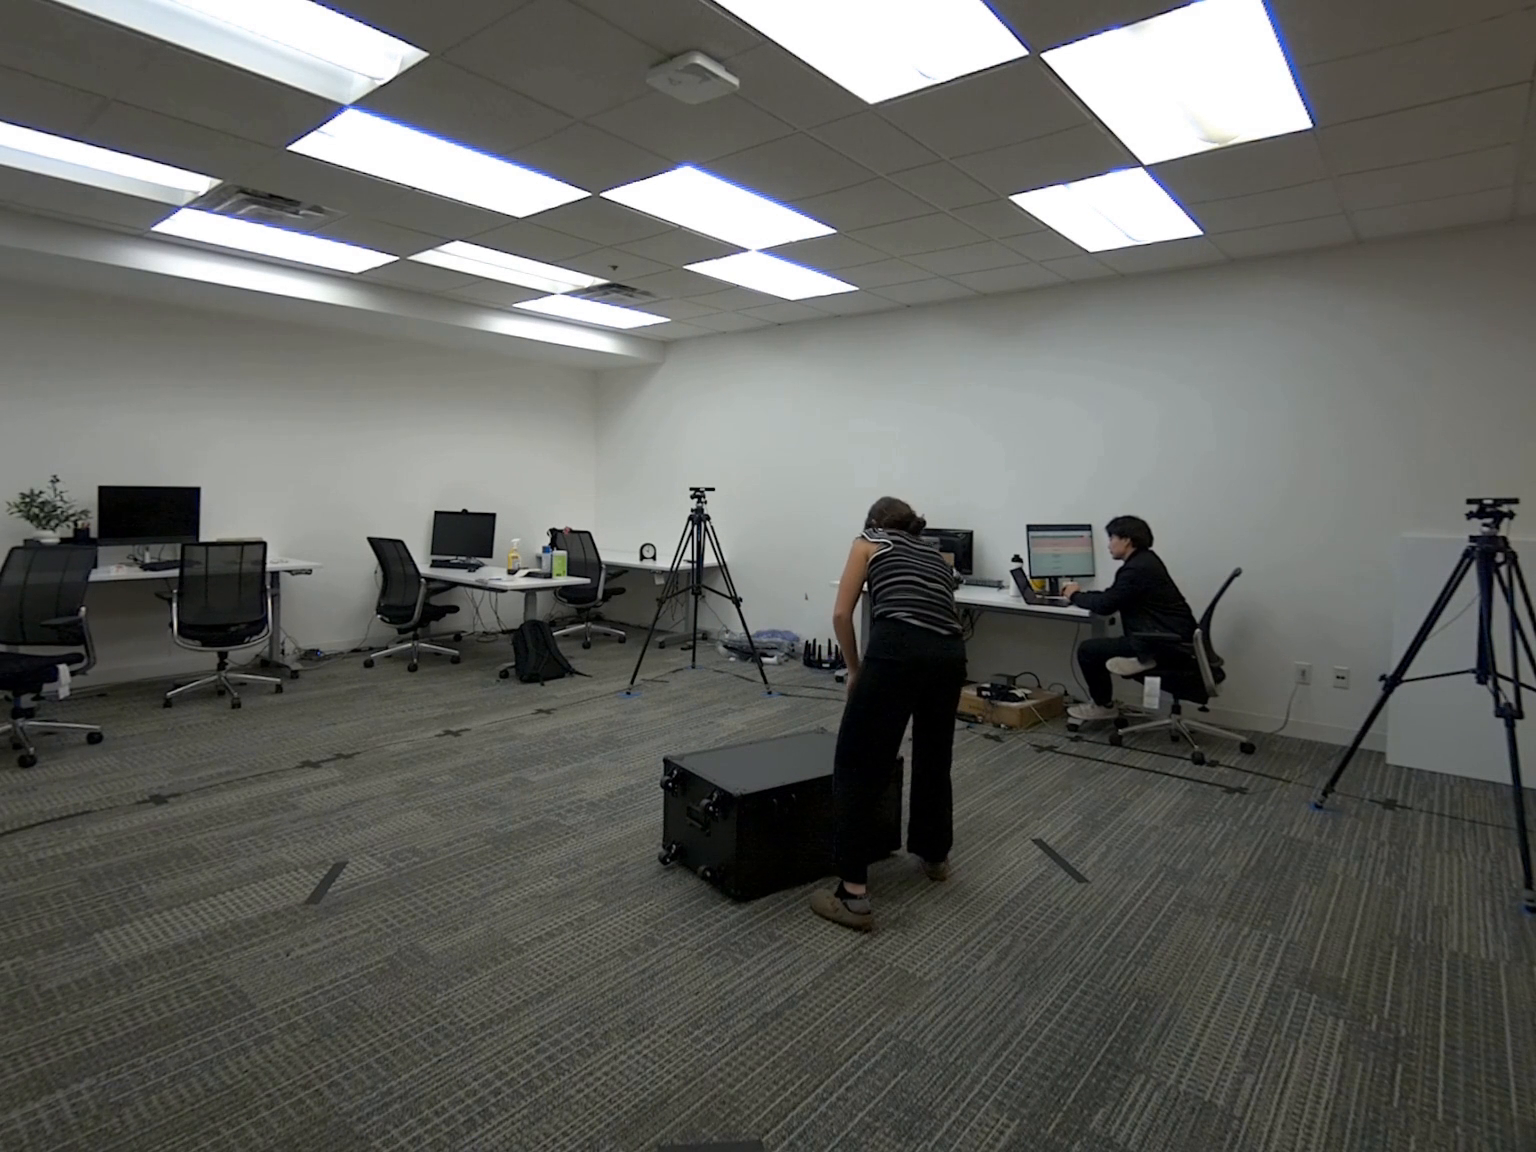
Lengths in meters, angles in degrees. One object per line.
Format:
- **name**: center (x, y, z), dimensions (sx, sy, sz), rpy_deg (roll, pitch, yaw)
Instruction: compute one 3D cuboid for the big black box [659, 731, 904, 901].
- **big black box**: center (0.021, 0.866, 3.212), dimensions (0.836, 0.395, 0.538), rpy_deg (-2, 5, -36)
